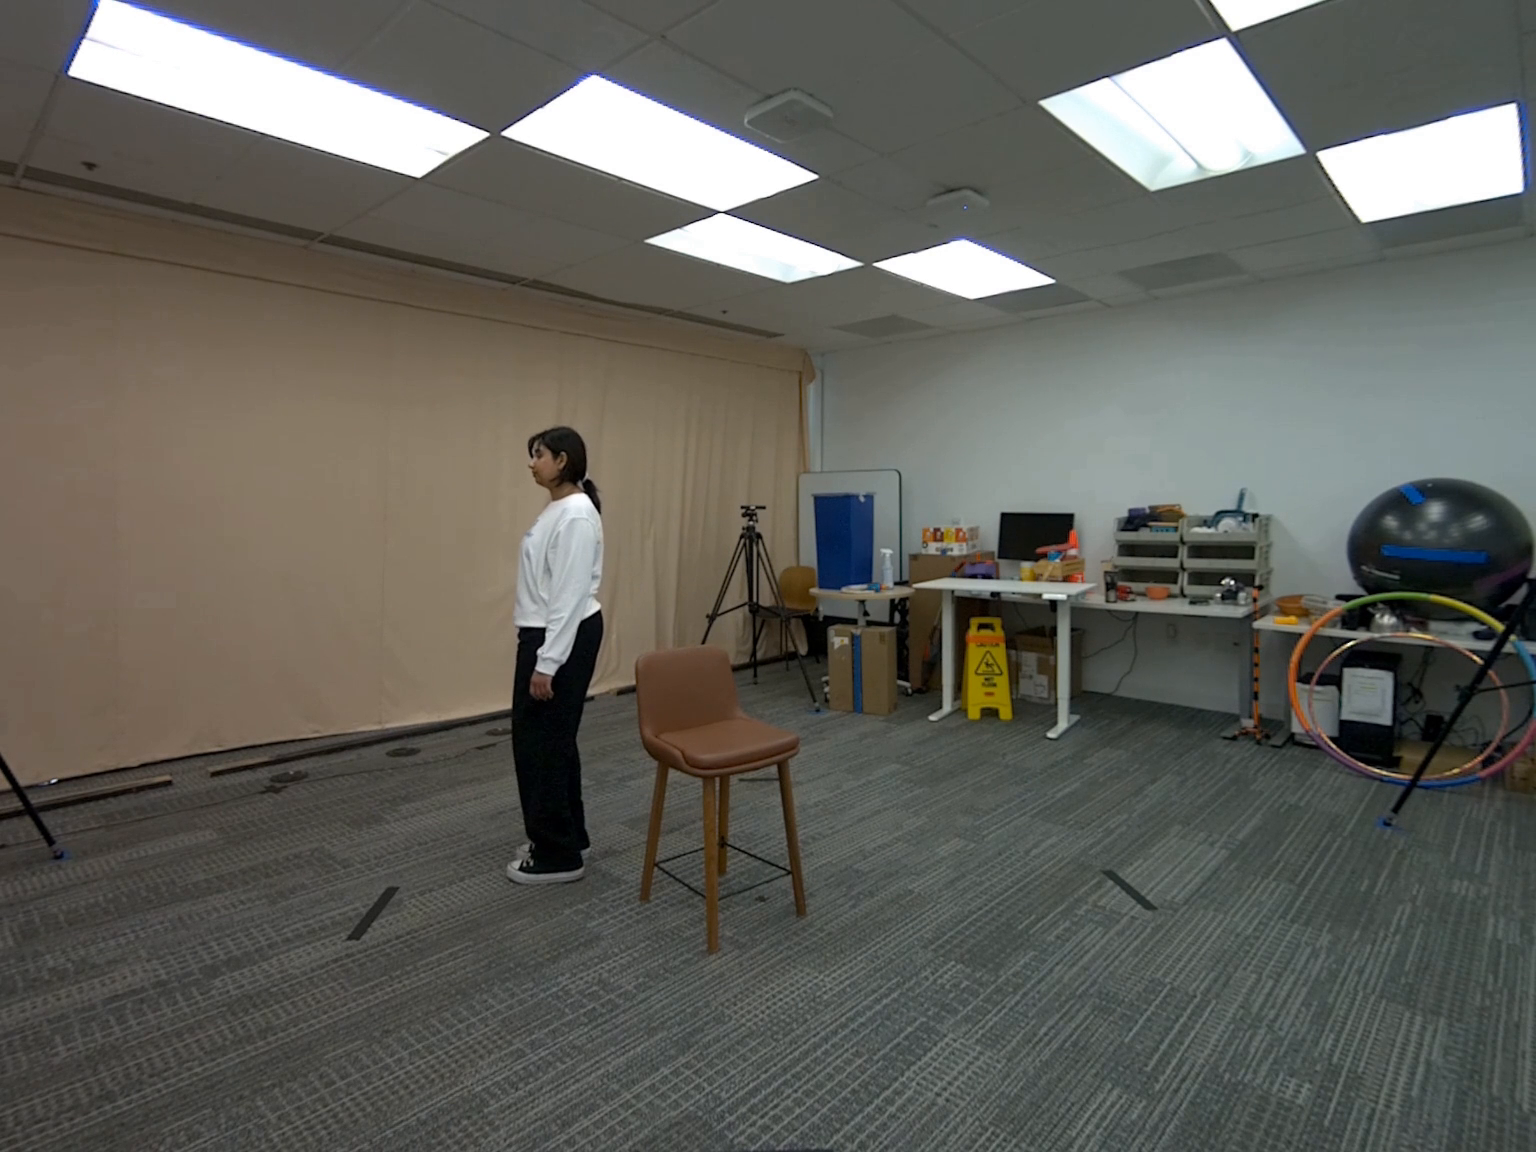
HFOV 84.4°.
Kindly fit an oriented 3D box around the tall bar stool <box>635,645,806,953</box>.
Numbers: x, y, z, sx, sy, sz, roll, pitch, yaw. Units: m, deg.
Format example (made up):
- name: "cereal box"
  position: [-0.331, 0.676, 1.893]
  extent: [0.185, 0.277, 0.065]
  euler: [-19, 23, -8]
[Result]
- name: "tall bar stool"
  position: [-0.170, 0.714, 2.895]
  extent: [0.443, 0.889, 0.482]
  euler: [-3, 2, -39]
